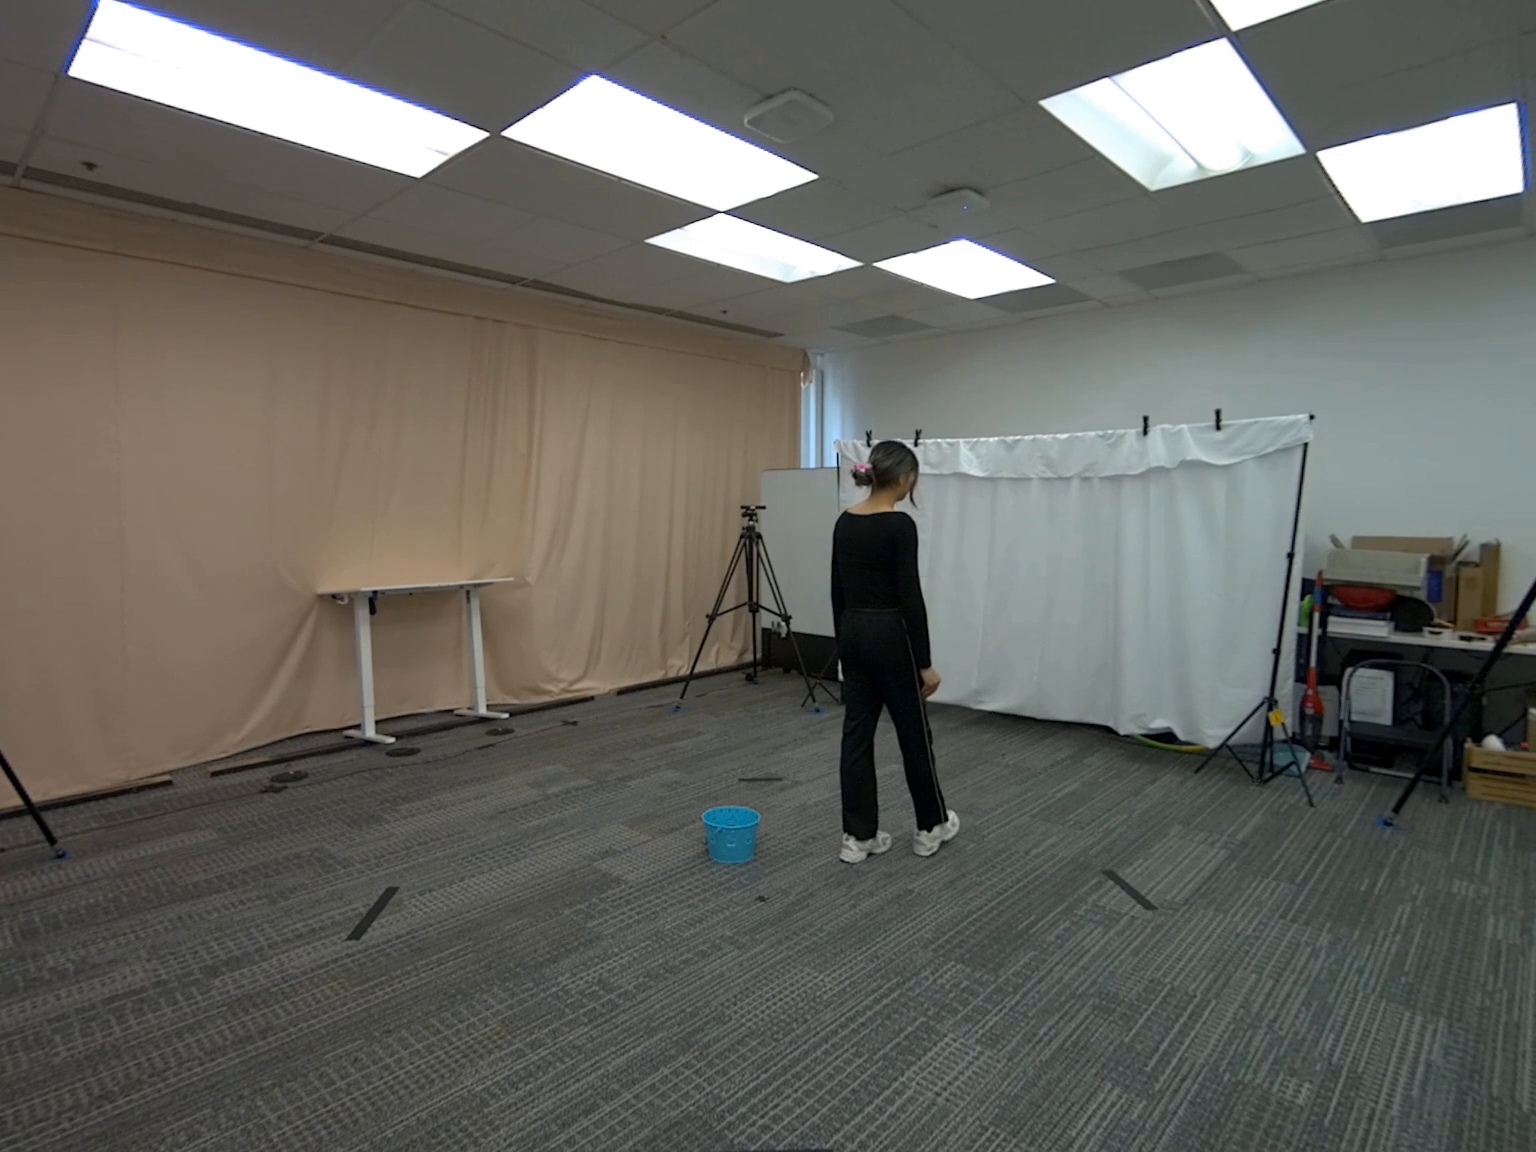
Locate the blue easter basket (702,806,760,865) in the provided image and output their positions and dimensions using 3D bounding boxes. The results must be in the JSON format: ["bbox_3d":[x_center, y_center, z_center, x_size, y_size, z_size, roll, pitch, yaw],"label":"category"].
[{"bbox_3d":[-0.149,1.032,3.364,0.243,0.155,0.244,-1,4,-2],"label":"blue easter basket"}]
